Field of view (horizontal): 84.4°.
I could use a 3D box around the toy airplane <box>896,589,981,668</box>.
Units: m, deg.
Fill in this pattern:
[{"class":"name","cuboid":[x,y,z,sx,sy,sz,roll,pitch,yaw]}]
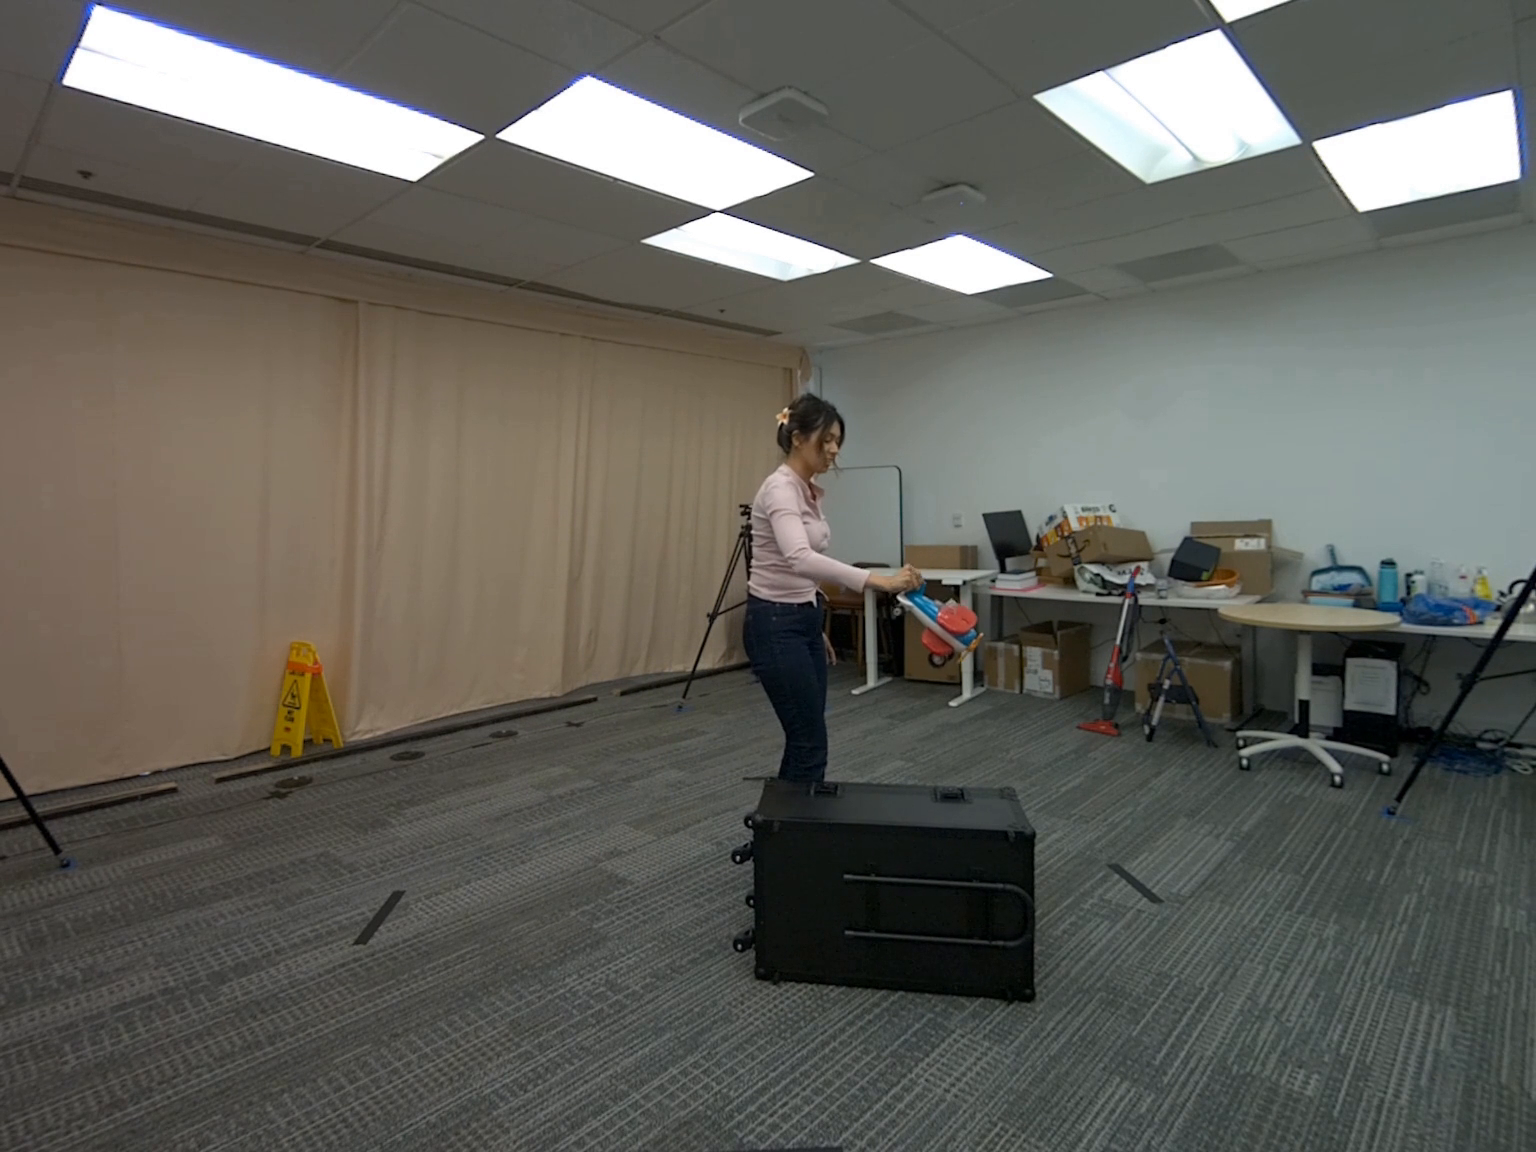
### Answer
[{"class":"toy airplane","cuboid":[0.492,0.142,2.453,0.158,0.255,0.253,-43,16,25]}]
